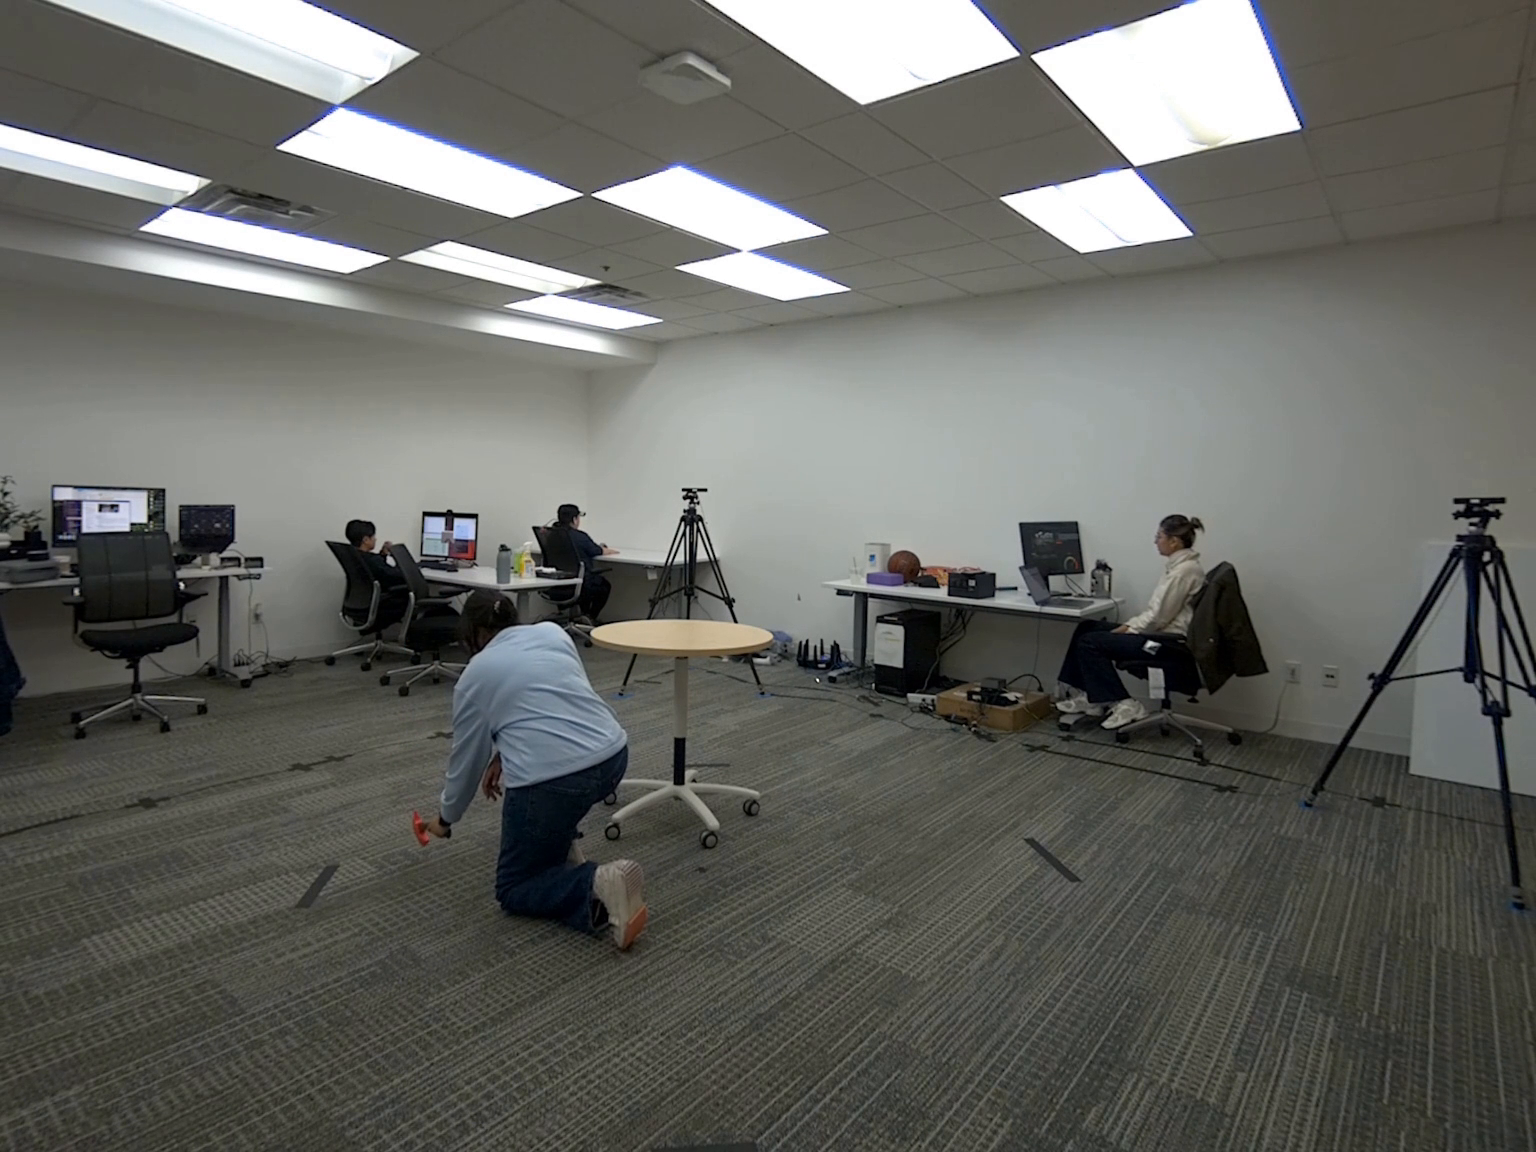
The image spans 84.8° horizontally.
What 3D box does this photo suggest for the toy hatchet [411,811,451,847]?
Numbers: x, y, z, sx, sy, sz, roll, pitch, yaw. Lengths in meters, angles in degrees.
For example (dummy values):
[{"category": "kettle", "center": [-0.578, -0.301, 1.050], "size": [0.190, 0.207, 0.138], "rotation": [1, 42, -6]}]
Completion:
[{"category": "toy hatchet", "center": [-1.247, 0.938, 3.103], "size": [0.279, 0.130, 0.029], "rotation": [3, 6, 44]}]
